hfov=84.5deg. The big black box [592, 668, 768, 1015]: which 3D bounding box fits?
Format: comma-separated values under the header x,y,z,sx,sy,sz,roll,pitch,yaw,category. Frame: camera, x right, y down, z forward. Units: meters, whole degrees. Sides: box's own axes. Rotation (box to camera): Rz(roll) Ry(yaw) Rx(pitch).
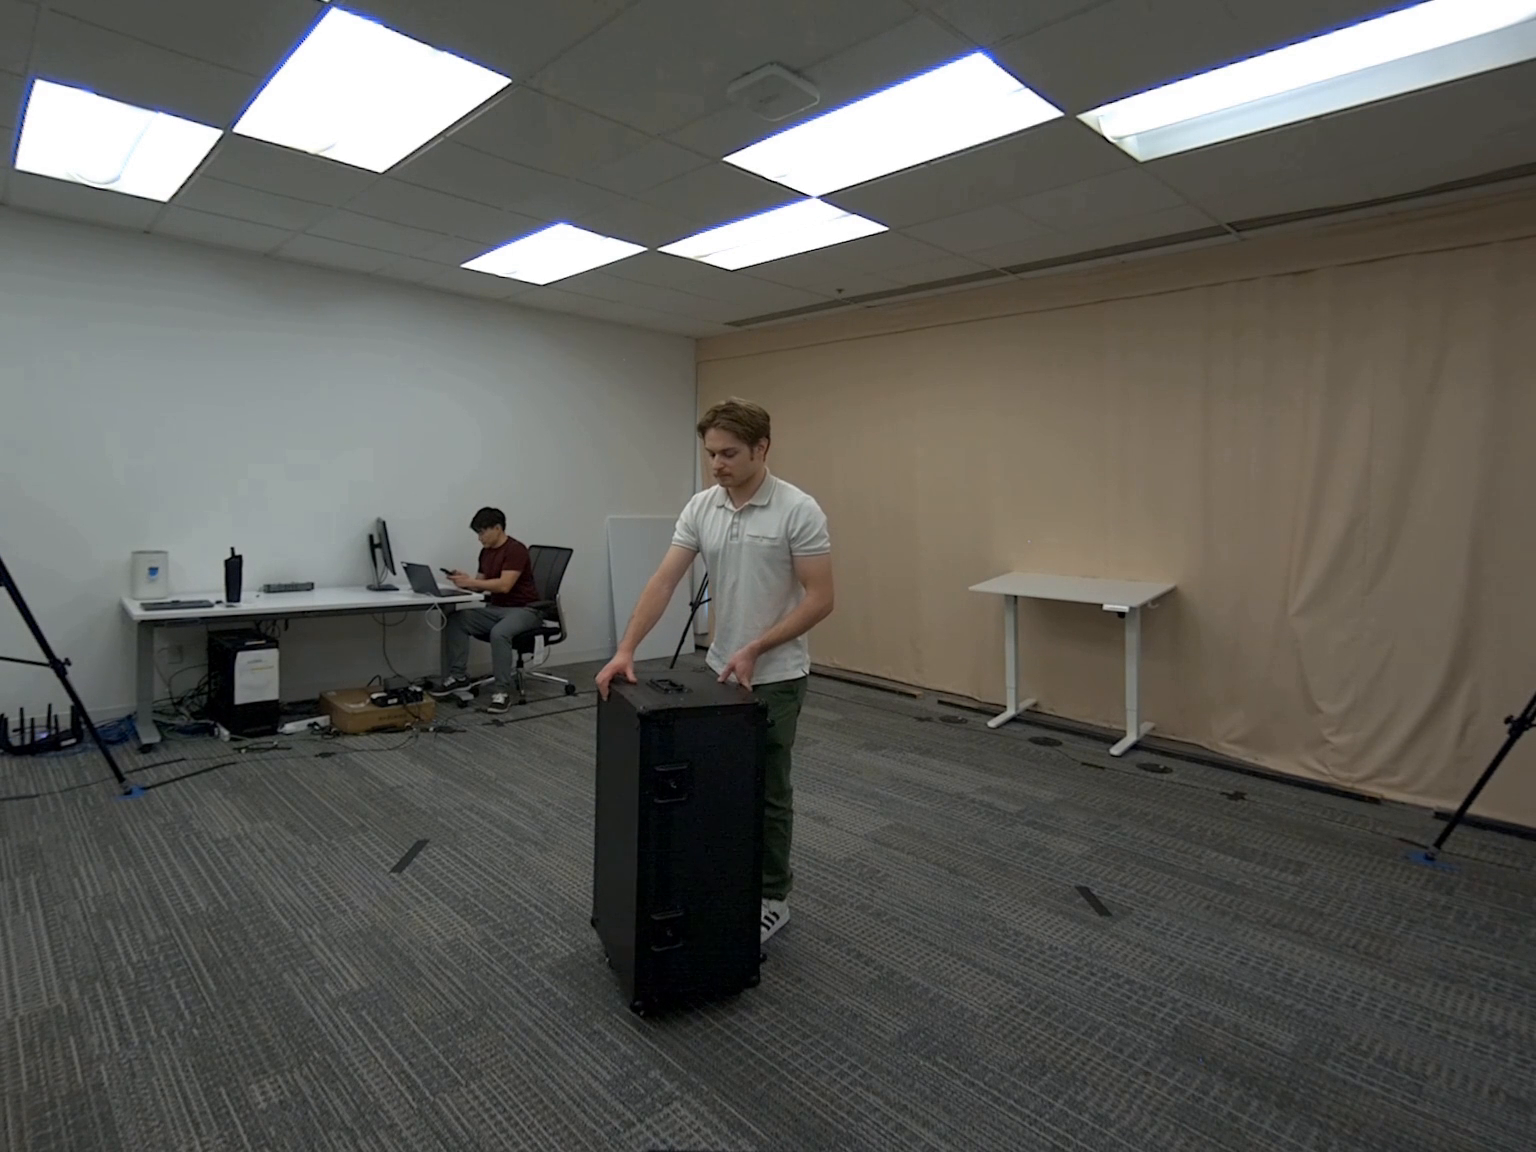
x,y,z,sx,sy,sz,roll,pitch,yaw,category
-0.277,0.742,2.416,0.378,0.867,0.534,0,3,-25,big black box
